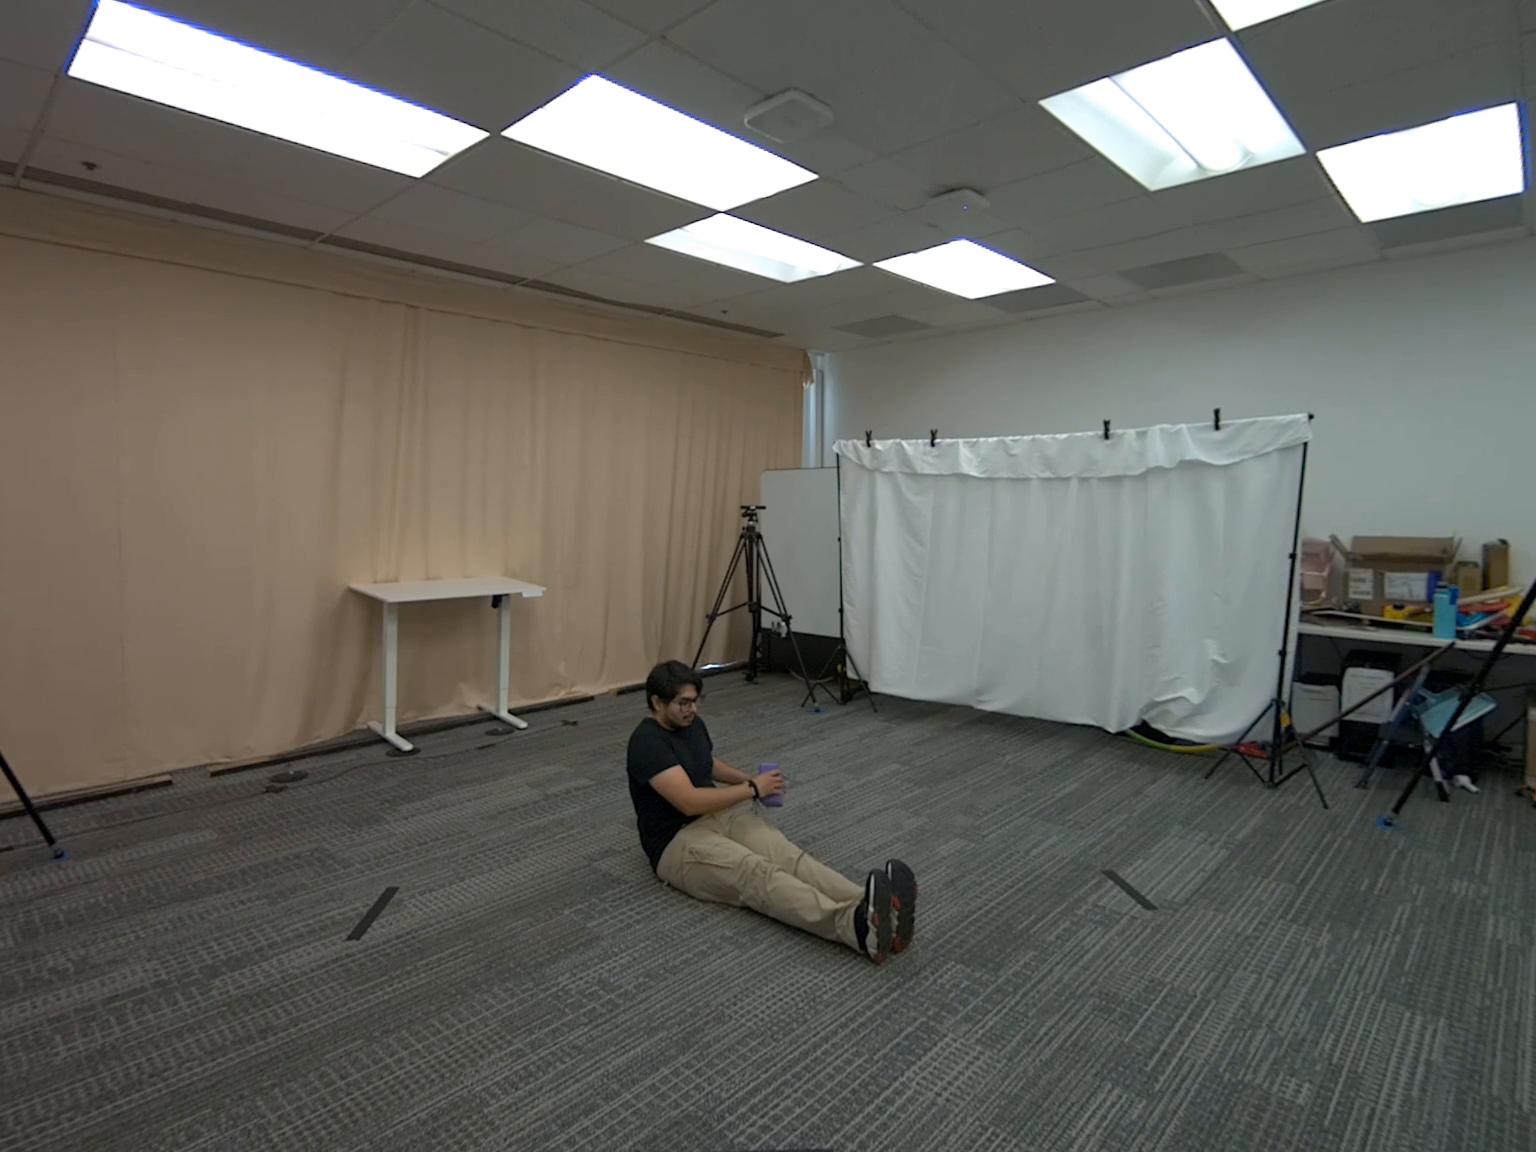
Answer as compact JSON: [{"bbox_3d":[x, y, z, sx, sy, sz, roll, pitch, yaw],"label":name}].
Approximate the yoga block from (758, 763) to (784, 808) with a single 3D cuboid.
[{"bbox_3d":[0.013,0.824,3.303,0.077,0.150,0.224,1,-17,9],"label":"yoga block"}]
